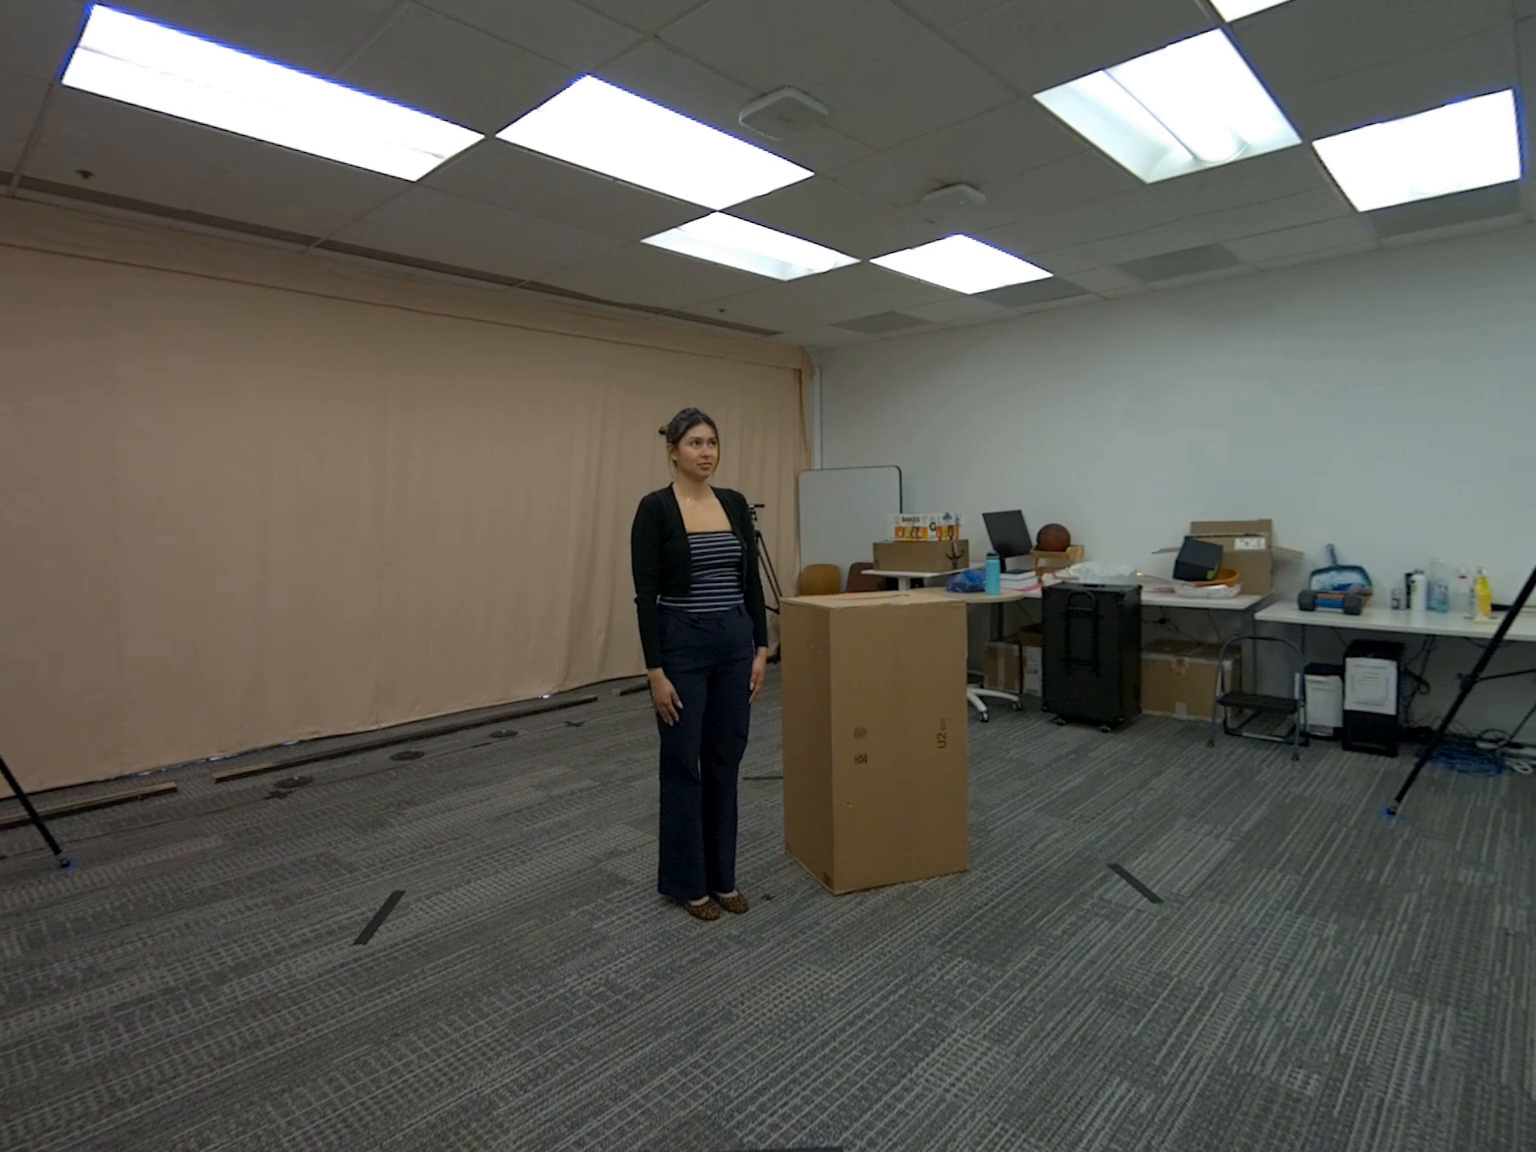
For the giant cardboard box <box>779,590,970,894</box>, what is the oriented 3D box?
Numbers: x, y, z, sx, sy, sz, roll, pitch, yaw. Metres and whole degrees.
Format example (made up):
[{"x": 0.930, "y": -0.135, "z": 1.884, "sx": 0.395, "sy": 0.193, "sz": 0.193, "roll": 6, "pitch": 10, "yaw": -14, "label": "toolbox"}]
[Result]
[{"x": 0.407, "y": 0.596, "z": 3.253, "sx": 0.566, "sy": 1.024, "sz": 0.436, "roll": -2, "pitch": 3, "yaw": -21, "label": "giant cardboard box"}]
